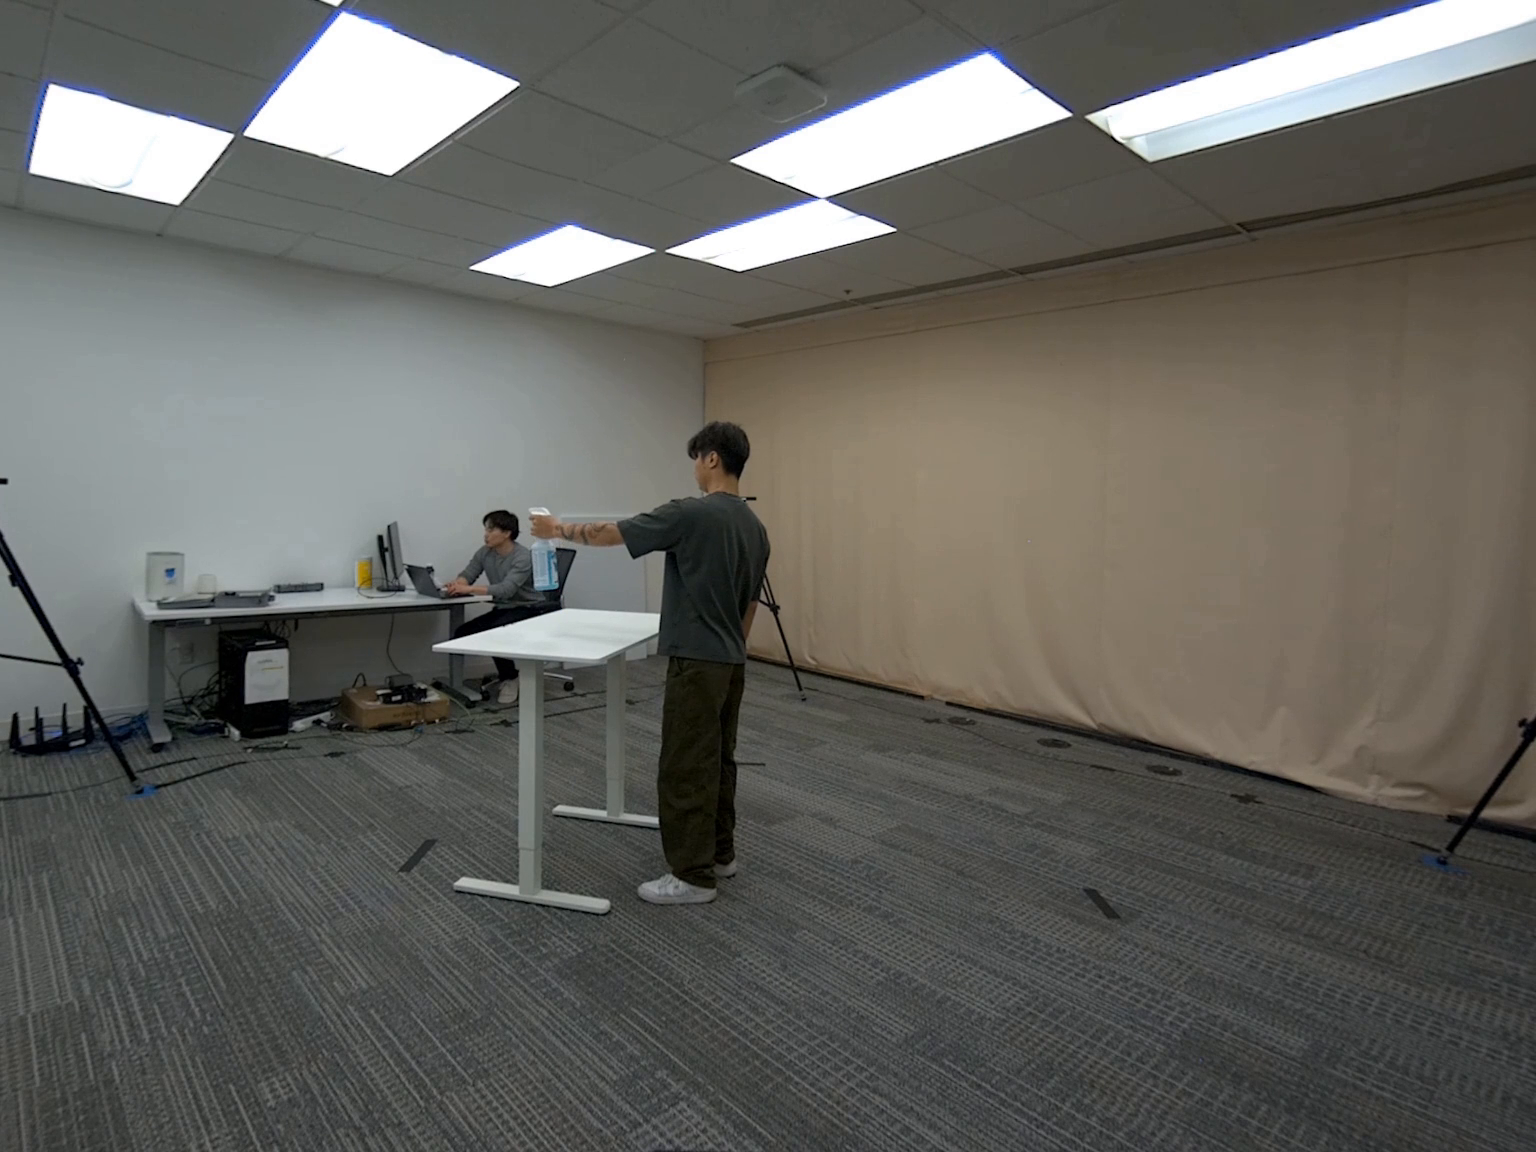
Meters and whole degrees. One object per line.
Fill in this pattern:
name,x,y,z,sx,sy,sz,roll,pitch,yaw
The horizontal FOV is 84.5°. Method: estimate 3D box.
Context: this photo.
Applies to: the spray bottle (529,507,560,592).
spray bottle,-0.816,-0.097,3.060,0.085,0.297,0.092,-5,3,-38
